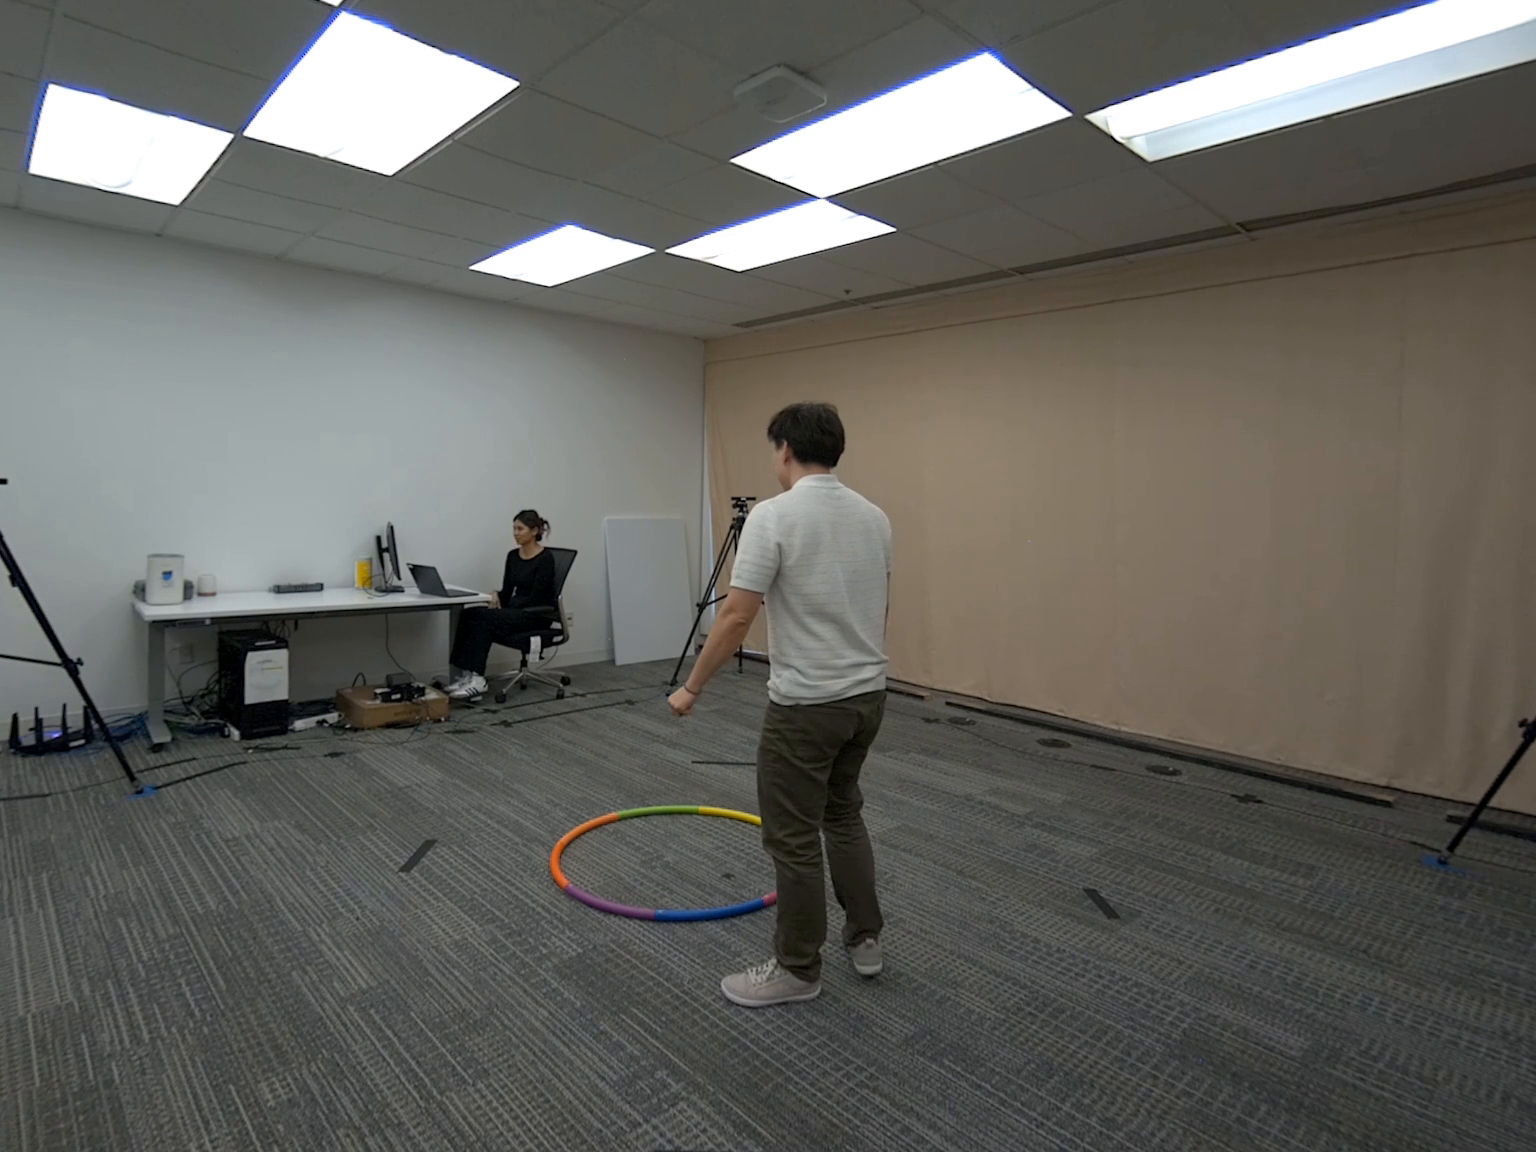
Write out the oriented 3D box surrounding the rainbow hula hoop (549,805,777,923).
[{"bbox_3d":[-0.338,1.063,3.237,0.978,0.035,0.982,2,6,-1],"label":"rainbow hula hoop"}]
